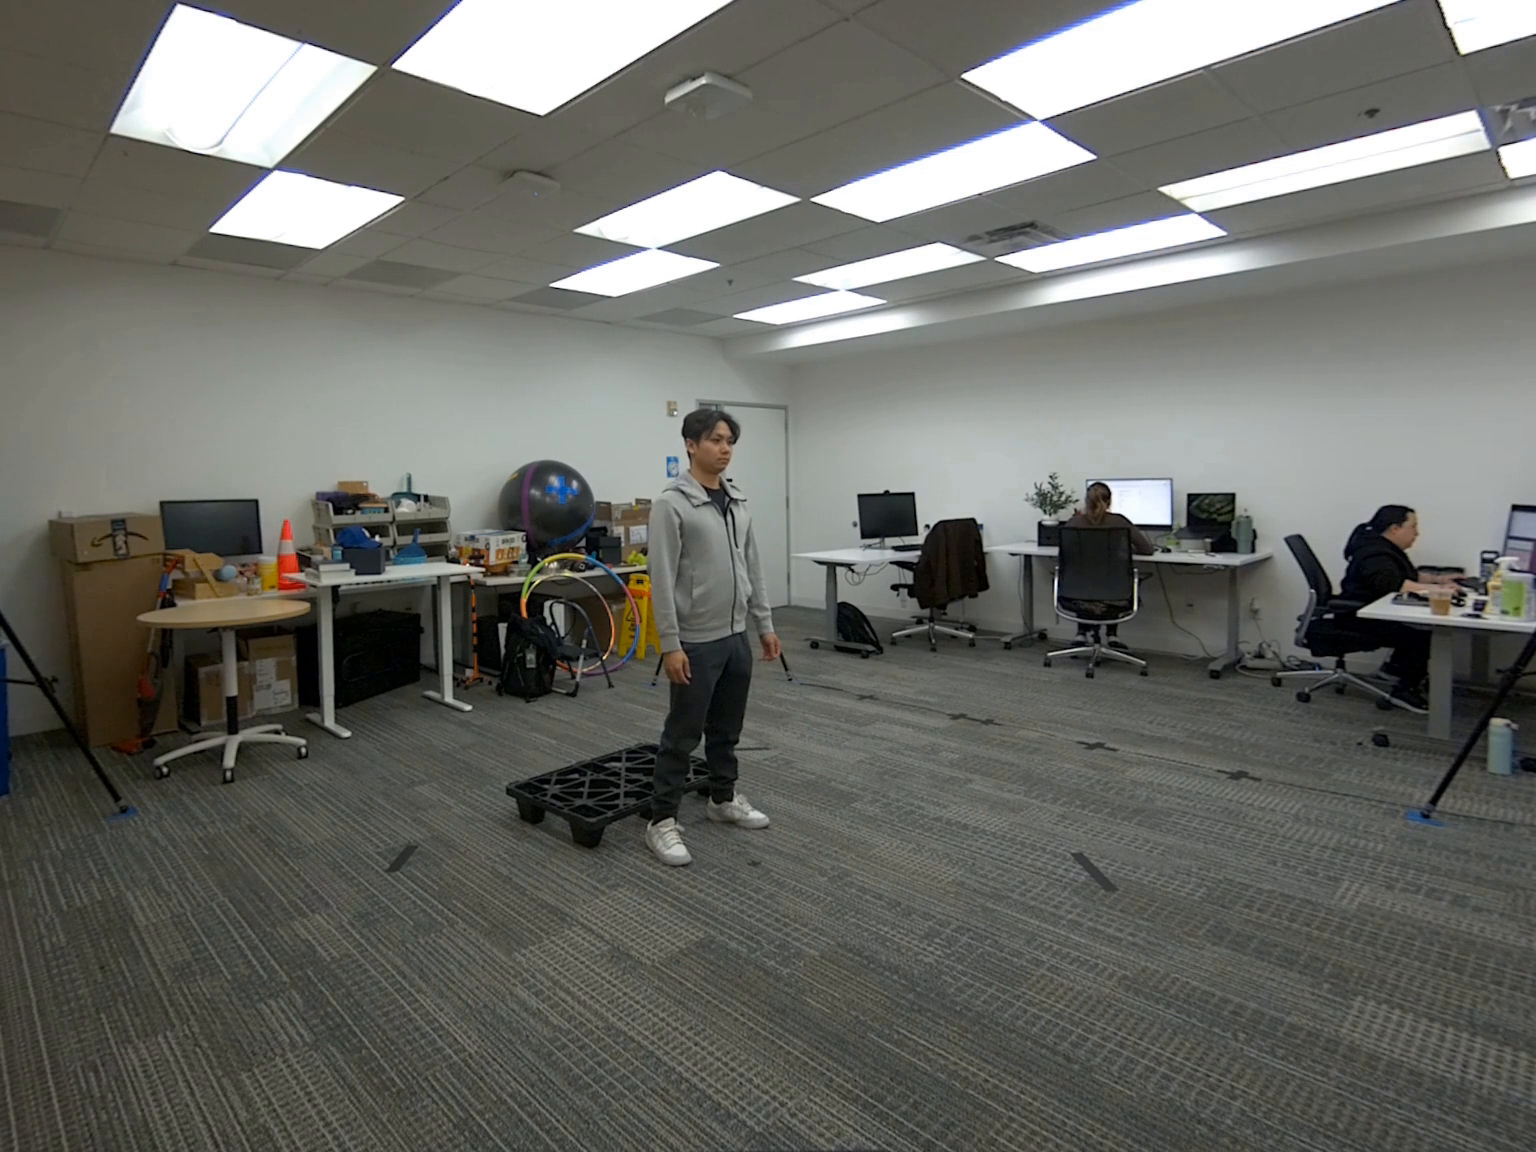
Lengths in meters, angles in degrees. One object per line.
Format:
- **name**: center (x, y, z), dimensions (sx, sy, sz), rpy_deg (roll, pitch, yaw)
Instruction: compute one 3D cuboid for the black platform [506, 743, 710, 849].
- **black platform**: center (-0.612, 0.923, 3.669), dimensions (0.624, 0.142, 0.785), rpy_deg (5, 9, 42)
